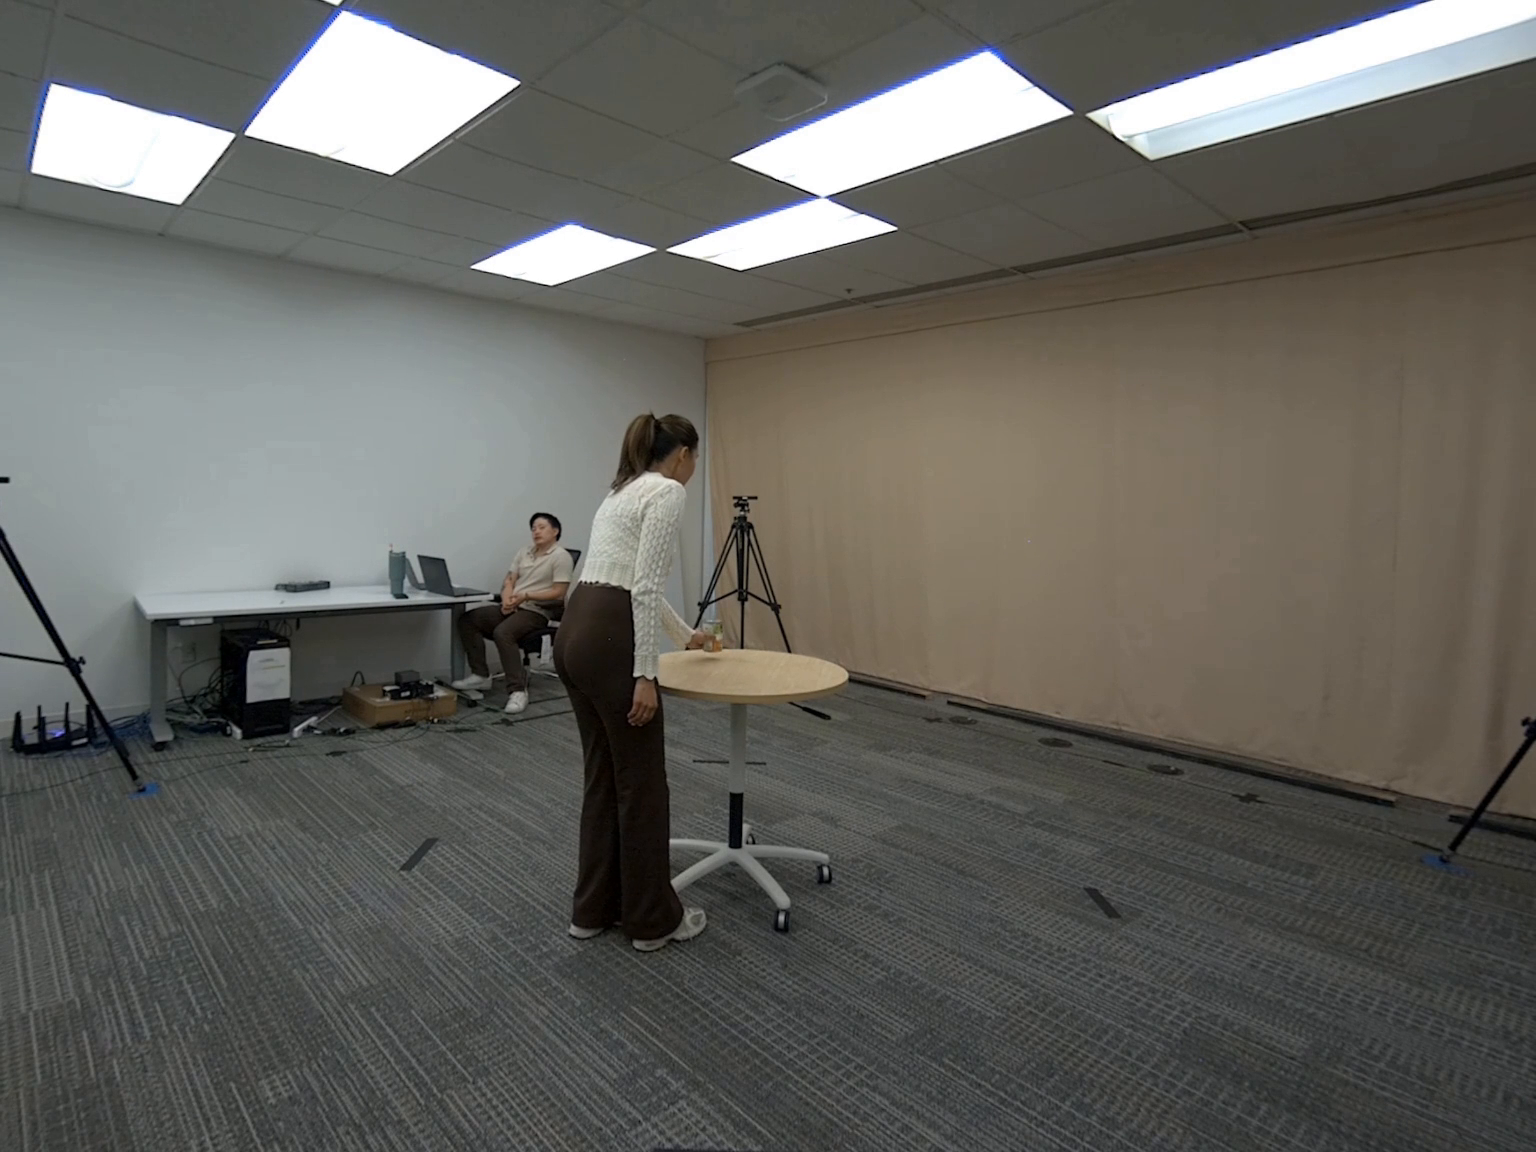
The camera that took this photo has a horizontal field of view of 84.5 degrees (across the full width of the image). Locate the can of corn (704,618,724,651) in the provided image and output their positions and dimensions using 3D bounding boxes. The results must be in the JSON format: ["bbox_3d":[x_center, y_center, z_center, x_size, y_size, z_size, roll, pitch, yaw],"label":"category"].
[{"bbox_3d":[-0.218,0.226,3.144,0.074,0.111,0.074,-1,4,-1],"label":"can of corn"}]
